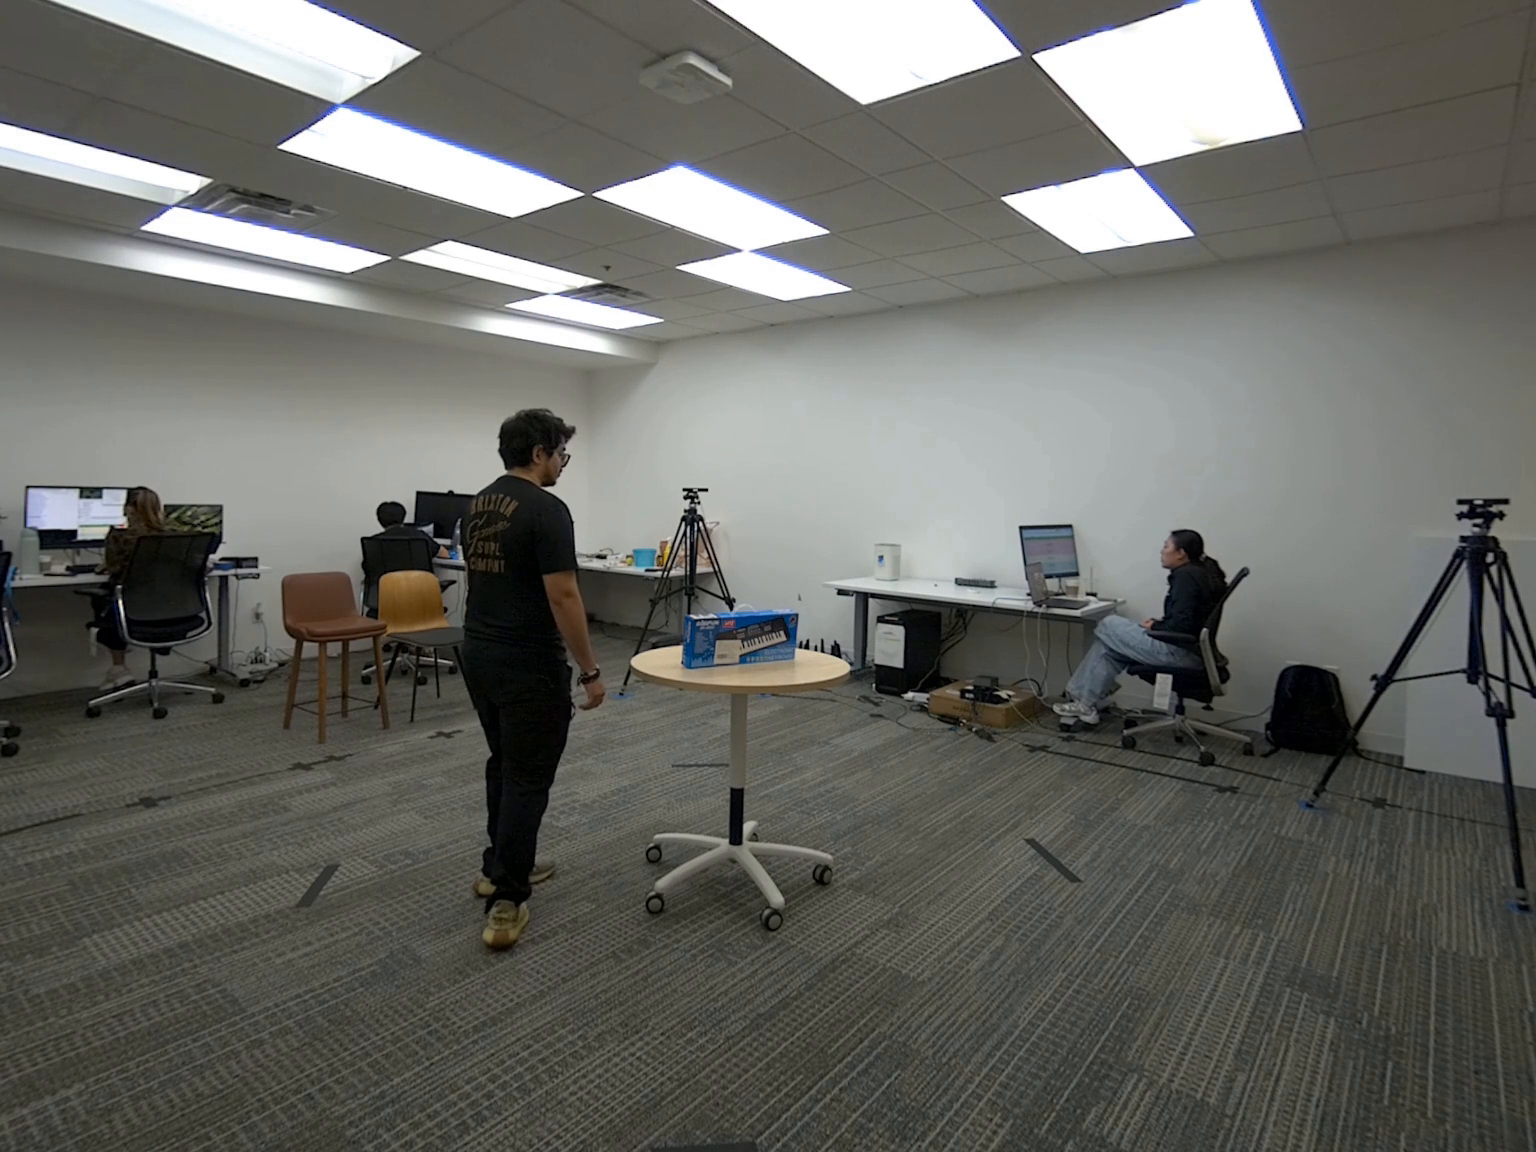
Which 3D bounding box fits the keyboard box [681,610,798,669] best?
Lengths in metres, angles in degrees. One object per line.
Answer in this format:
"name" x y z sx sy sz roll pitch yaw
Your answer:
"keyboard box" -0.101 0.219 2.954 0.425 0.175 0.061 -2 8 -31
